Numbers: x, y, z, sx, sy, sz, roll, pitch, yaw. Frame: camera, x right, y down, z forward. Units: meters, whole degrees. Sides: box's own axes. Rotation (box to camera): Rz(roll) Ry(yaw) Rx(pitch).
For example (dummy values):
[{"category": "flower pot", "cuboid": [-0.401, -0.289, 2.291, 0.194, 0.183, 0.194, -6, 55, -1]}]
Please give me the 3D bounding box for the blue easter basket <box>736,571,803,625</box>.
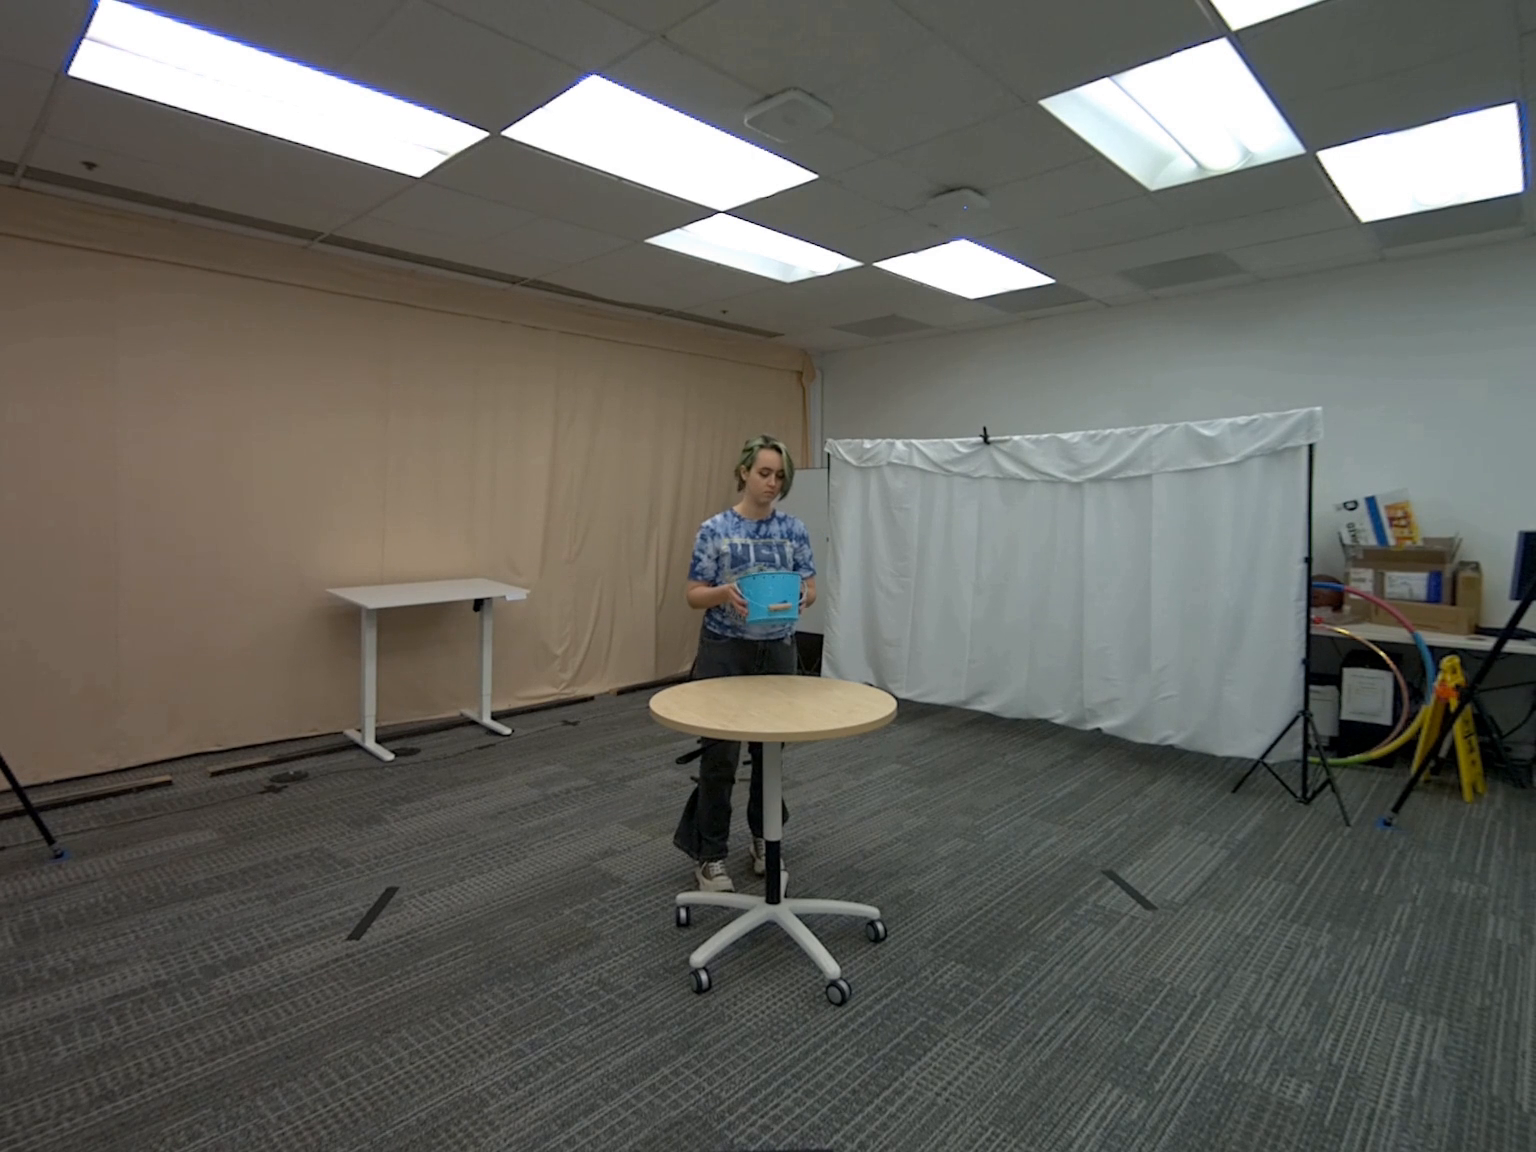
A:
[{"category": "blue easter basket", "cuboid": [0.018, 0.086, 2.922, 0.243, 0.157, 0.242, -2, -9, -2]}]
